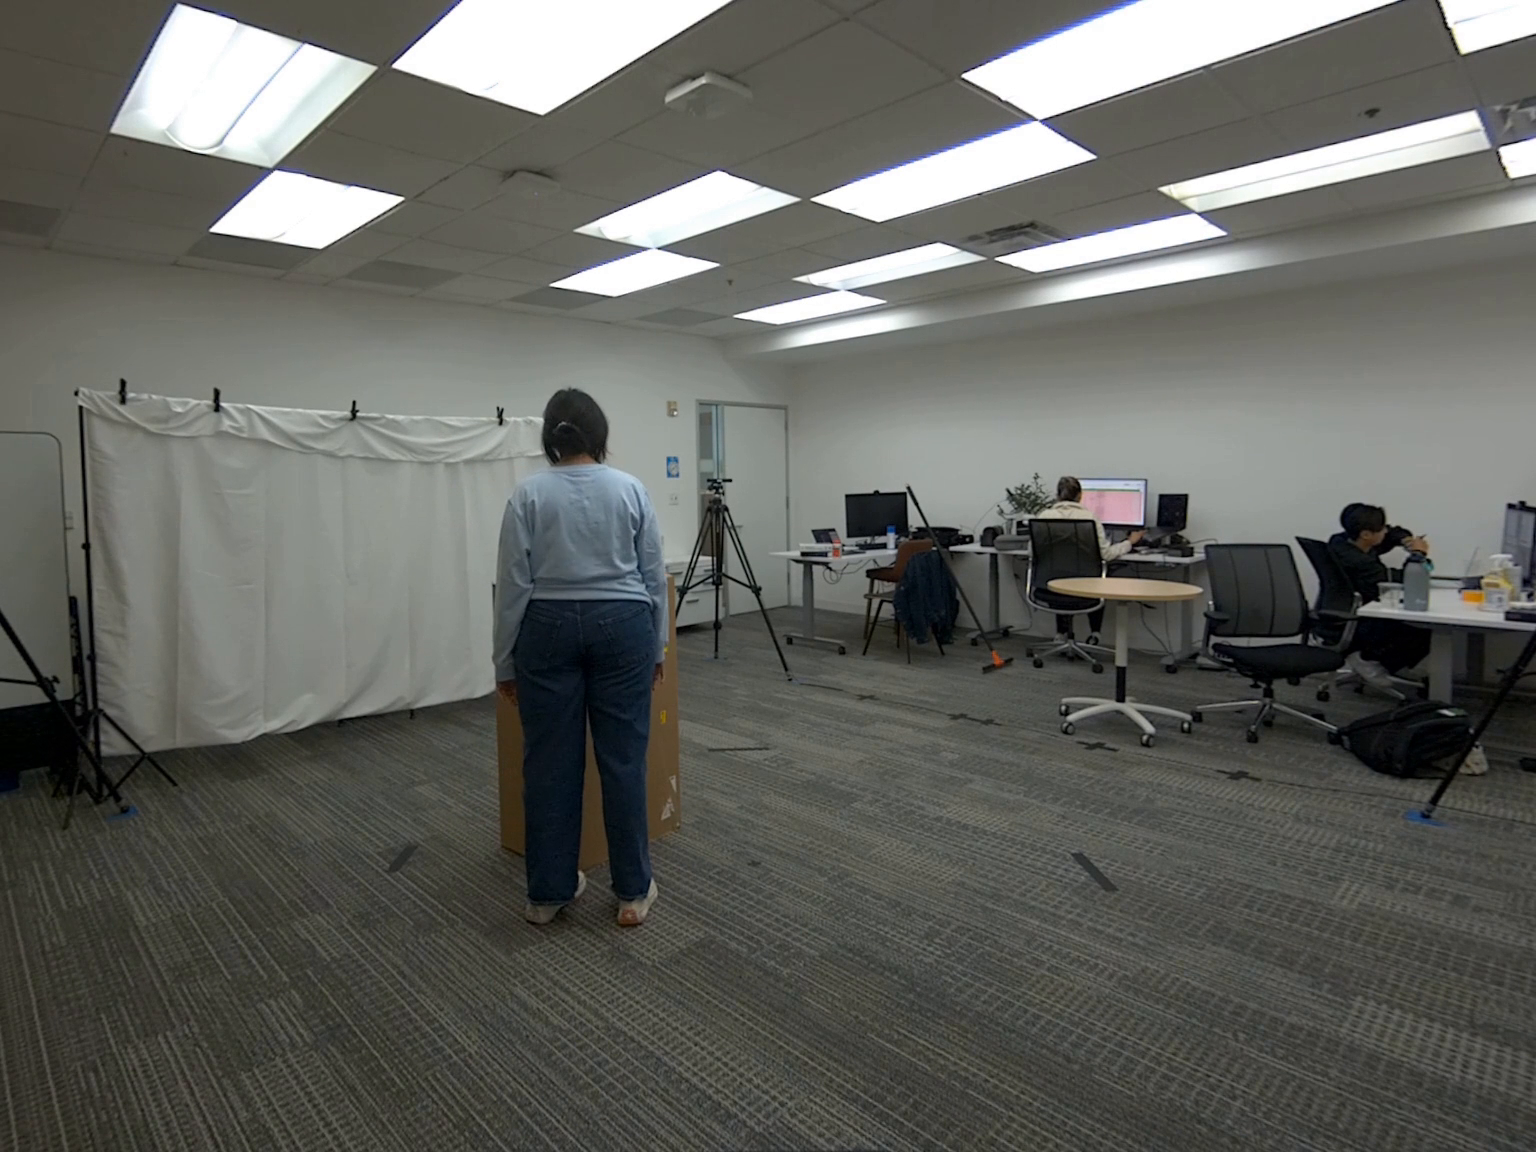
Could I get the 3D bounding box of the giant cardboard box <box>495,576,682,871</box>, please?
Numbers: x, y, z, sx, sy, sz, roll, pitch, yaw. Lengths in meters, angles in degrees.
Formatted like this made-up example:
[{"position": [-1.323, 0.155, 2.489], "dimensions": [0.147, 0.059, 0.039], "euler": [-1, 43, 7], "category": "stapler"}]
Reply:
[{"position": [-0.697, 0.519, 3.346], "dimensions": [0.460, 1.023, 0.569], "euler": [3, 5, 41], "category": "giant cardboard box"}]
